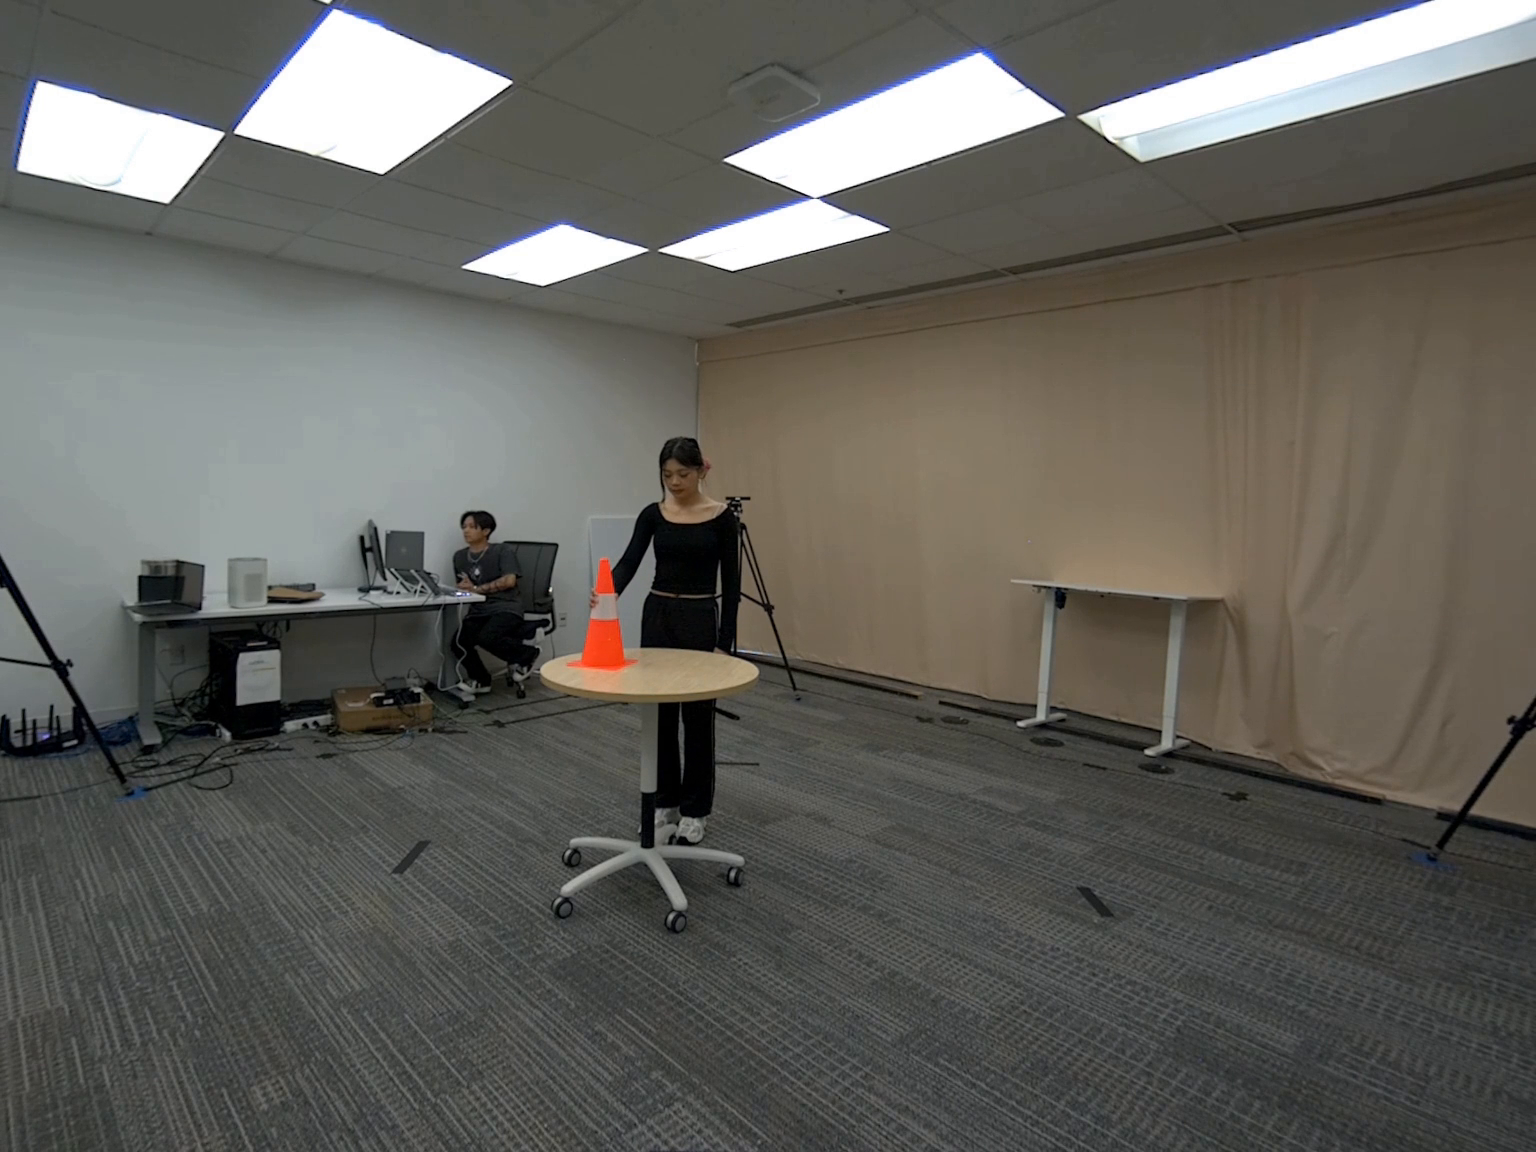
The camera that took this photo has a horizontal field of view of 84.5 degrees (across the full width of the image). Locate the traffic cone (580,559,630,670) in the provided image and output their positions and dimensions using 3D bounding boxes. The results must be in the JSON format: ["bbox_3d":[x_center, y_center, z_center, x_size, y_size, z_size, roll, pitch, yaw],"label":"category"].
[{"bbox_3d":[-0.592,0.128,3.031,0.208,0.383,0.200,4,3,19],"label":"traffic cone"}]
